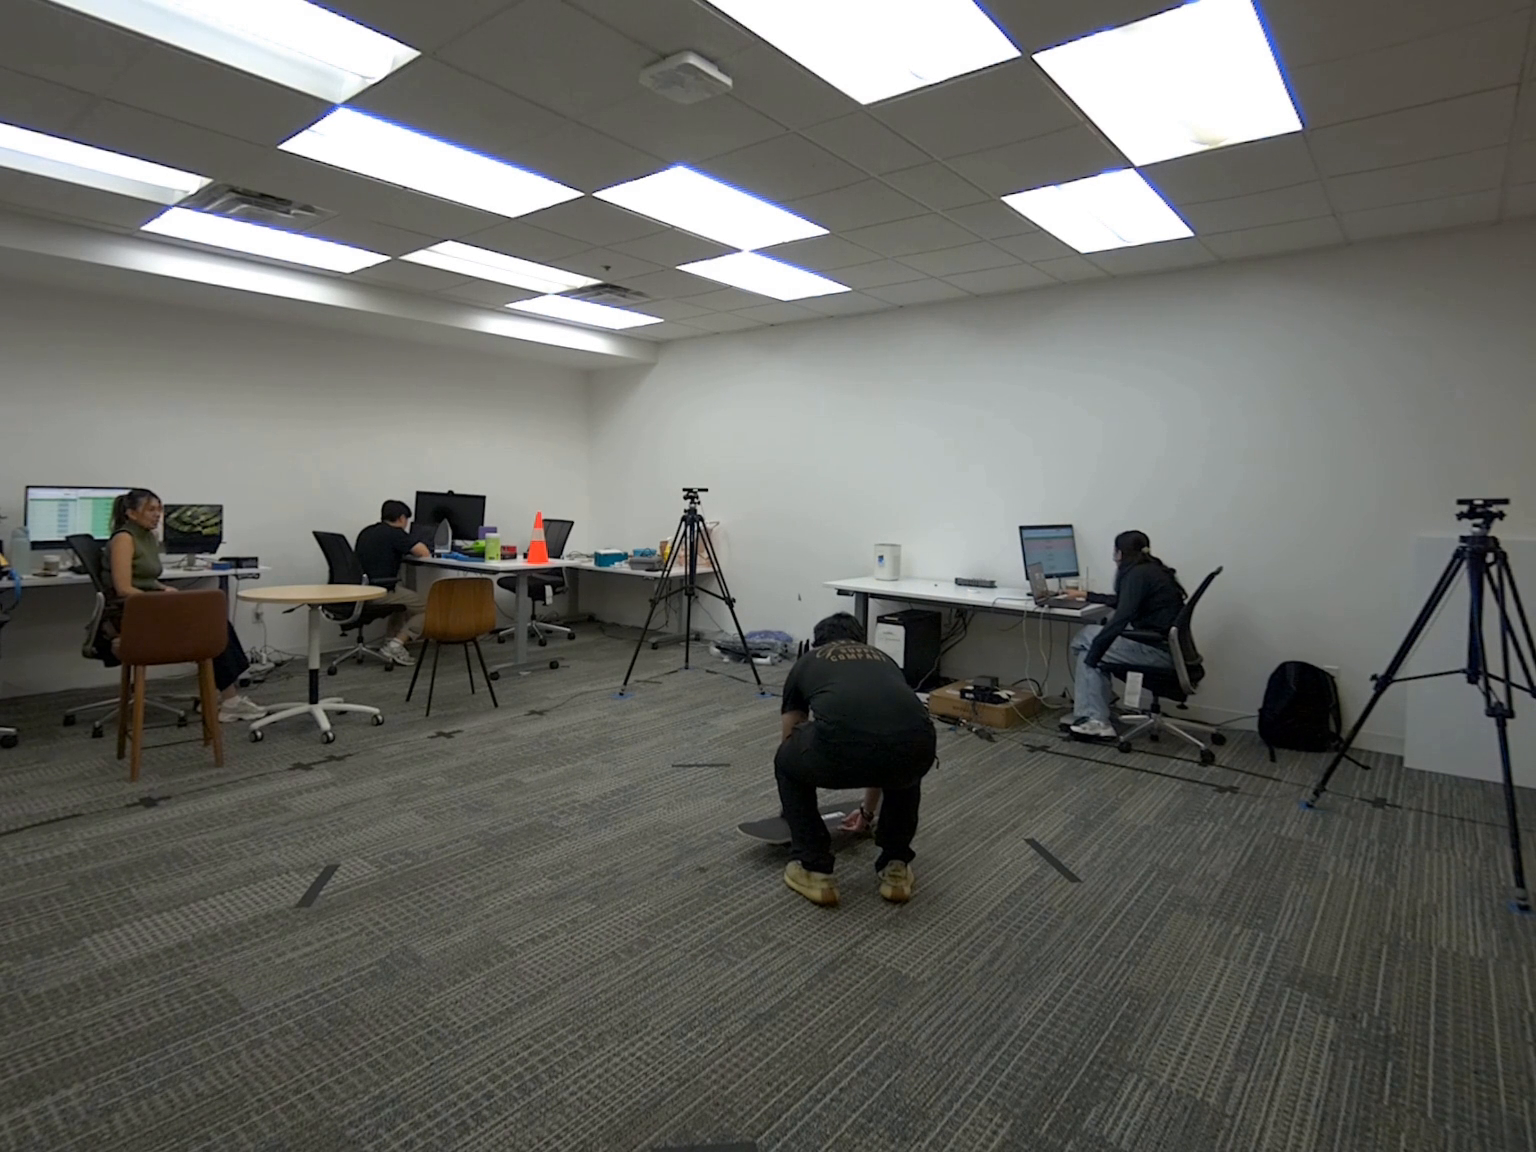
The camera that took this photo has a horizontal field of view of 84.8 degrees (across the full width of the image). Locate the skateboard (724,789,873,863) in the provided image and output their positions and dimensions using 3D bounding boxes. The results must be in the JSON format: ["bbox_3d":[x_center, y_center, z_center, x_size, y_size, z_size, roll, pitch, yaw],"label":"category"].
[{"bbox_3d":[0.211,0.986,3.397,0.764,0.110,0.199,-2,5,-30],"label":"skateboard"}]
